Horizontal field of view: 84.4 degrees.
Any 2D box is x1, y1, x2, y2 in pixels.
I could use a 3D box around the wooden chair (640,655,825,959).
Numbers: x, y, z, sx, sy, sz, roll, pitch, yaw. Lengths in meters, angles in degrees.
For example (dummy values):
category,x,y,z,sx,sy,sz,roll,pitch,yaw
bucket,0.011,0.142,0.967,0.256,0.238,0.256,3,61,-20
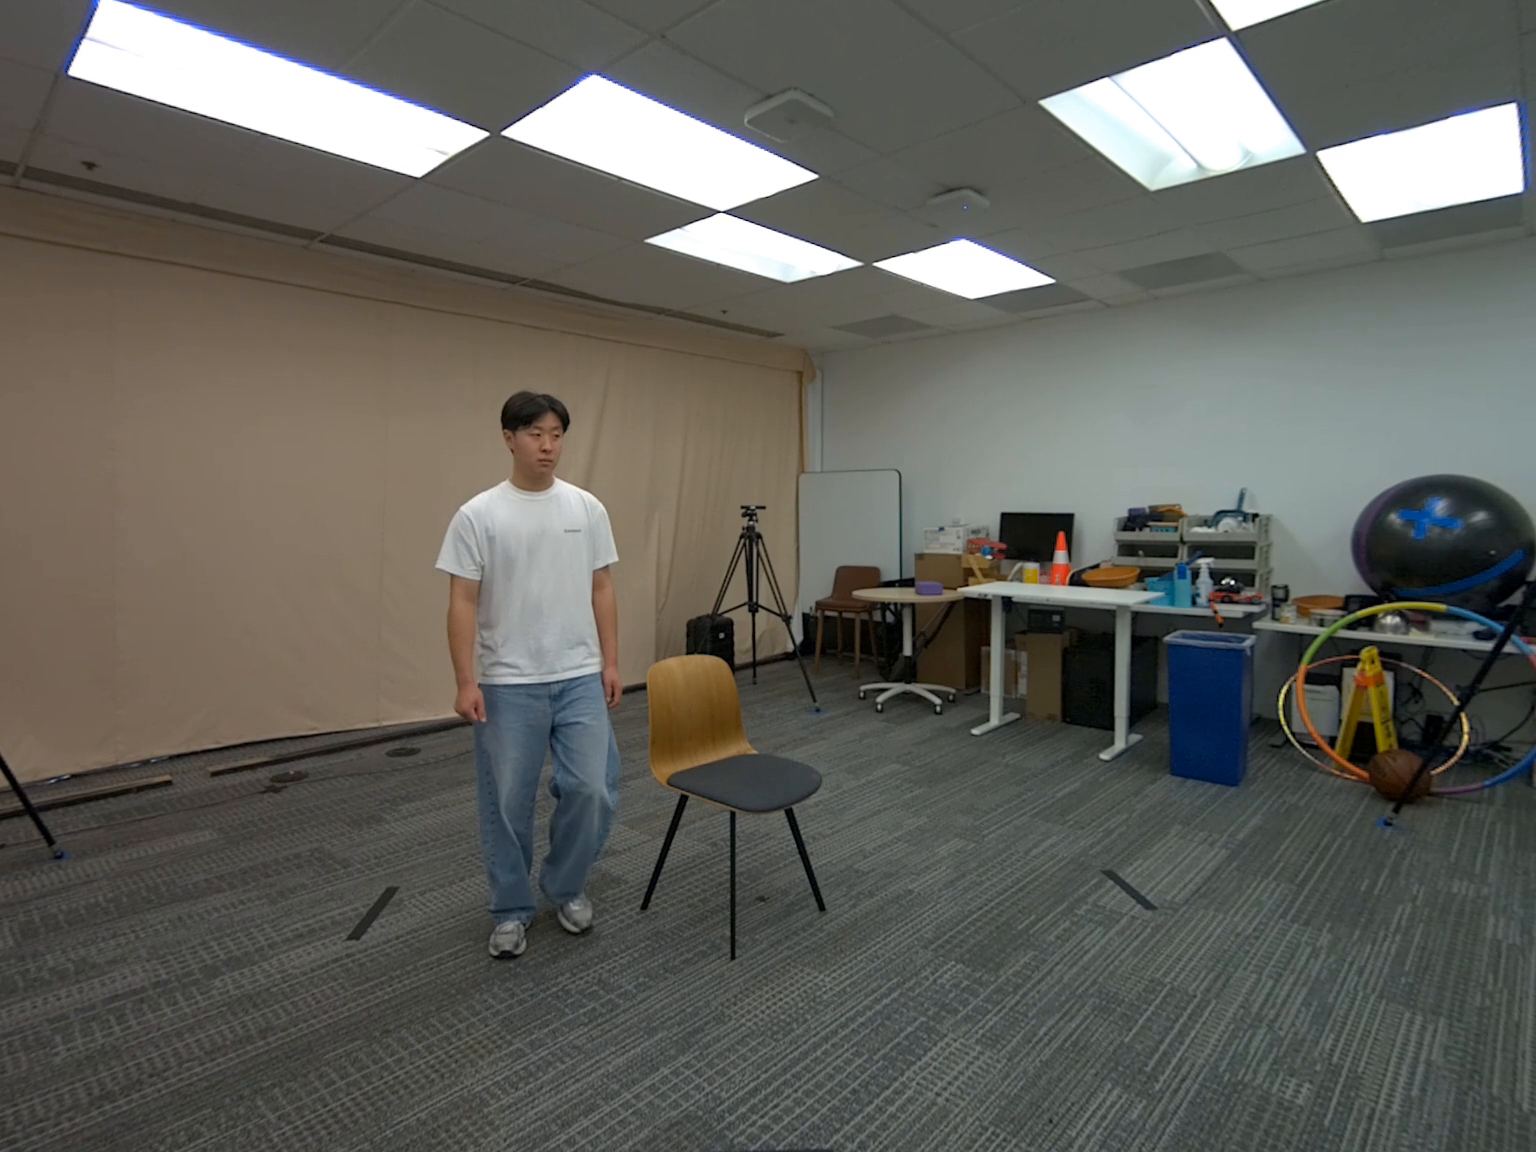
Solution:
category,x,y,z,sx,sy,sz,roll,pitch,yaw
wooden chair,-0.111,0.729,2.863,0.539,0.877,0.463,-3,1,44
